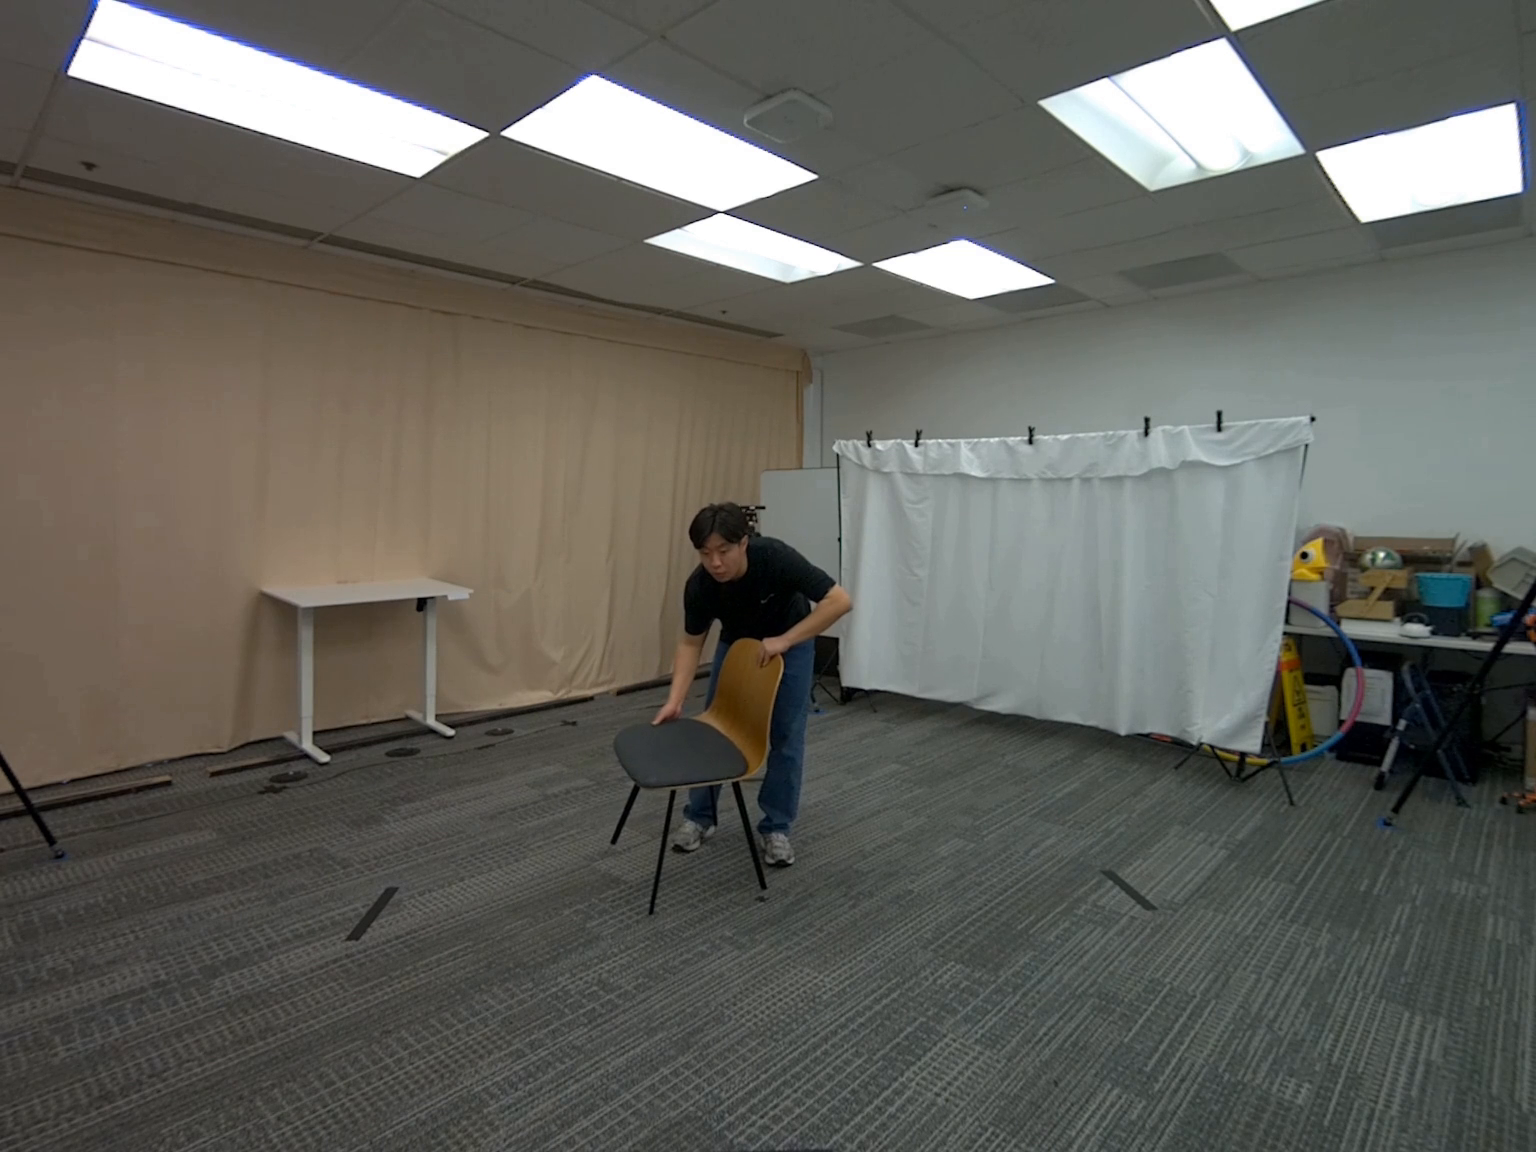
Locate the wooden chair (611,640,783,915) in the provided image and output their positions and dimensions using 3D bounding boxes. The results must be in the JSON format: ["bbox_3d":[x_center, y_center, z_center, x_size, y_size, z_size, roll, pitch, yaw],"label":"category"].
[{"bbox_3d":[-0.270,0.678,3.046,0.509,0.873,0.493,3,13,-28],"label":"wooden chair"}]
